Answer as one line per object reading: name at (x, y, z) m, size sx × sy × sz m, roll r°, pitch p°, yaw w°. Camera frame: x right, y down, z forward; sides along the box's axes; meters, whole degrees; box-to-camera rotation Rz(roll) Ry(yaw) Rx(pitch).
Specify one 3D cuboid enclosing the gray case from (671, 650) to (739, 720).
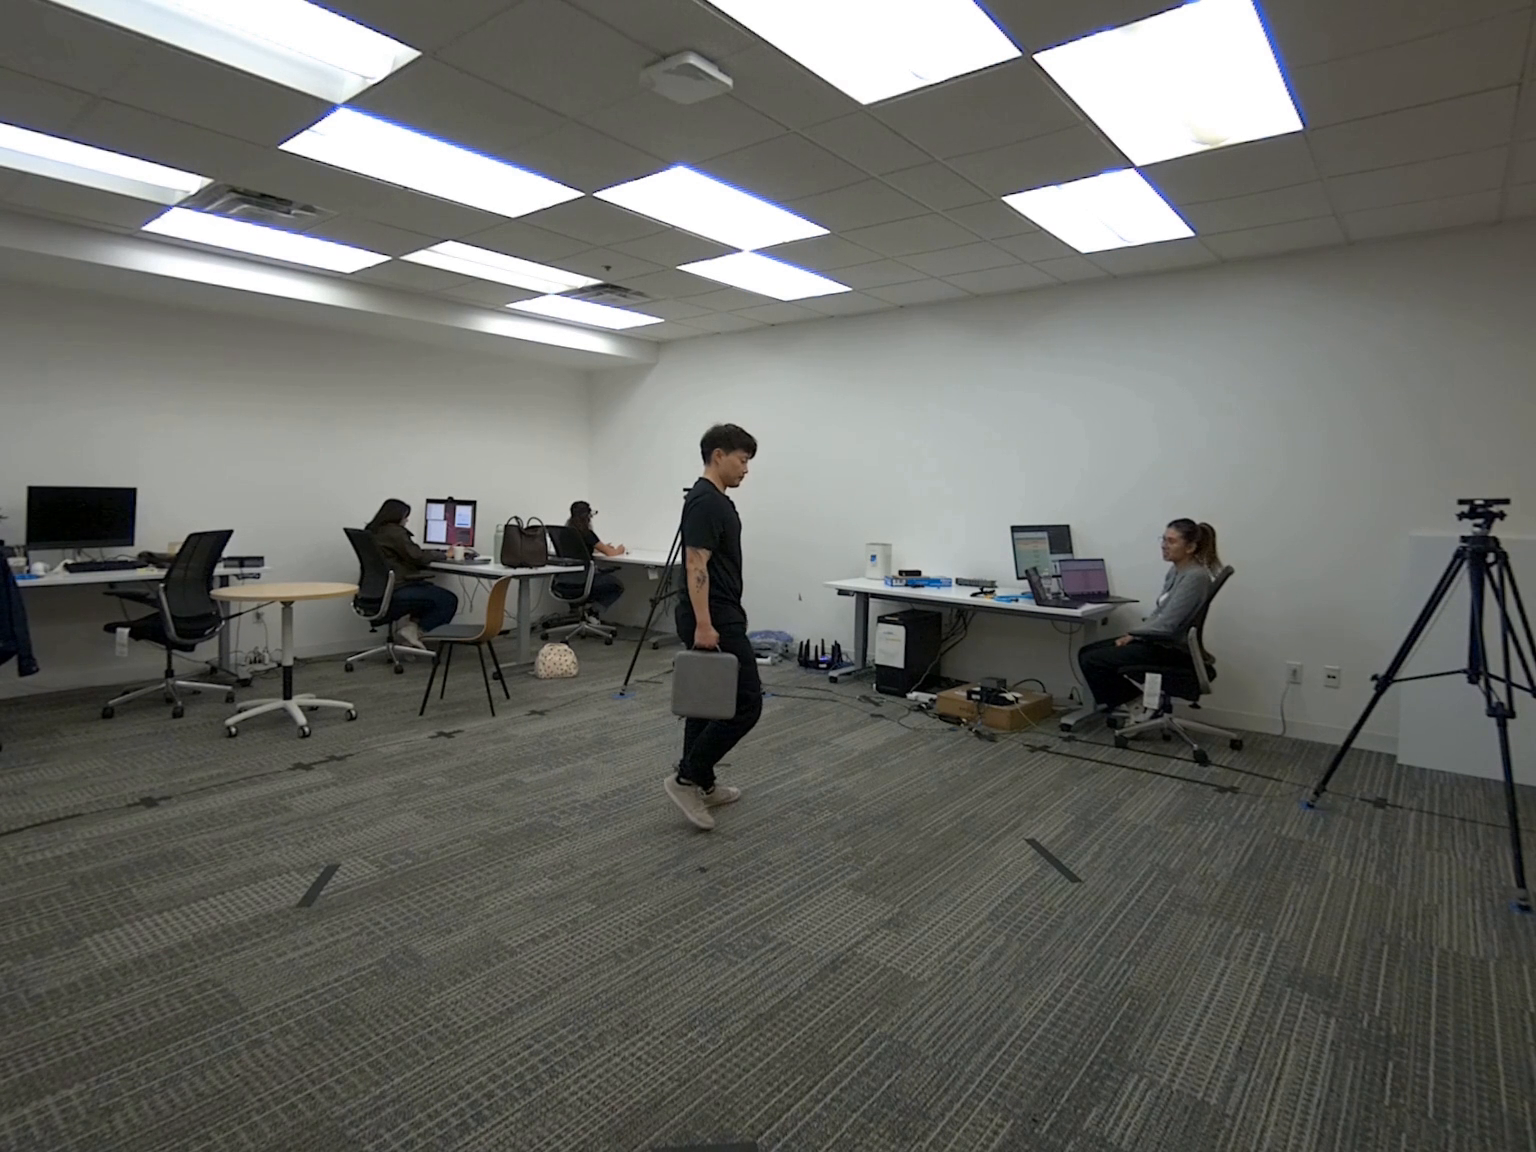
gray case at (-0.259, 0.421, 3.355) m, size 0.256 × 0.261 × 0.104 m, roll 3°, pitch -3°, yaw -1°
